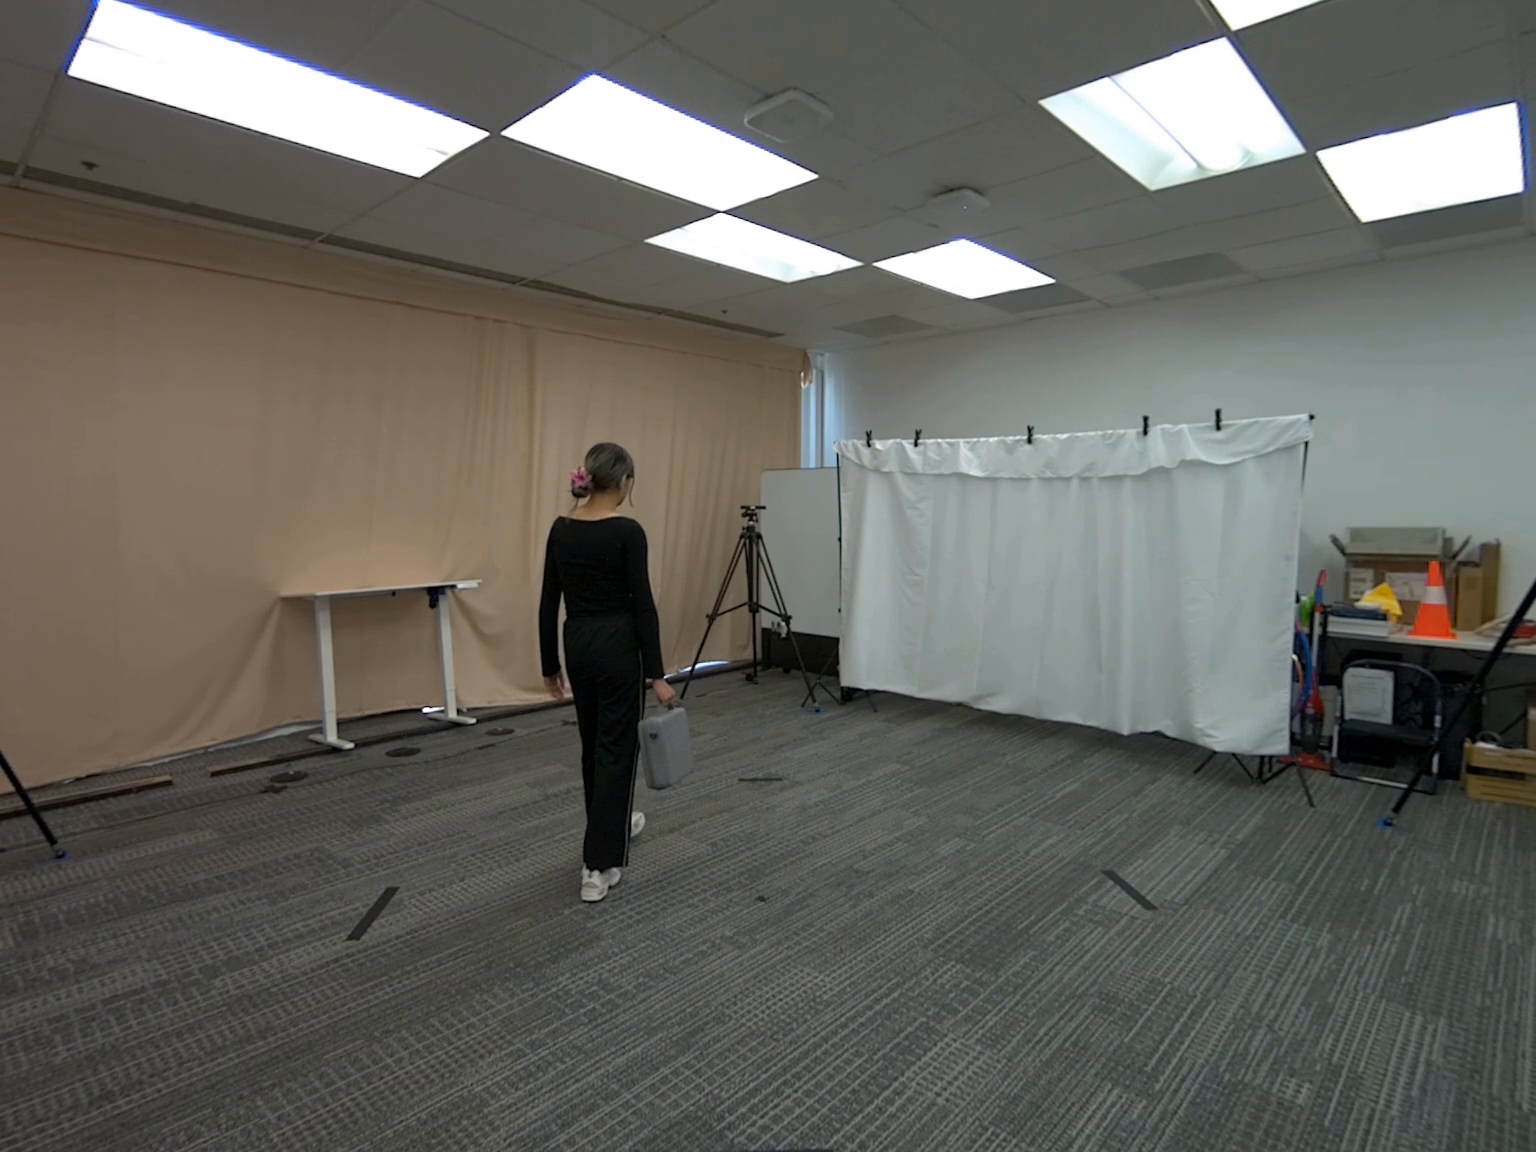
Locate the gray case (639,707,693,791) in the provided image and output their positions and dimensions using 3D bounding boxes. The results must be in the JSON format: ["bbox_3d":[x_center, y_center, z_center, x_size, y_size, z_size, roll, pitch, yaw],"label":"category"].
[{"bbox_3d":[-0.371,0.619,3.078,0.106,0.261,0.252,-6,0,16],"label":"gray case"}]
